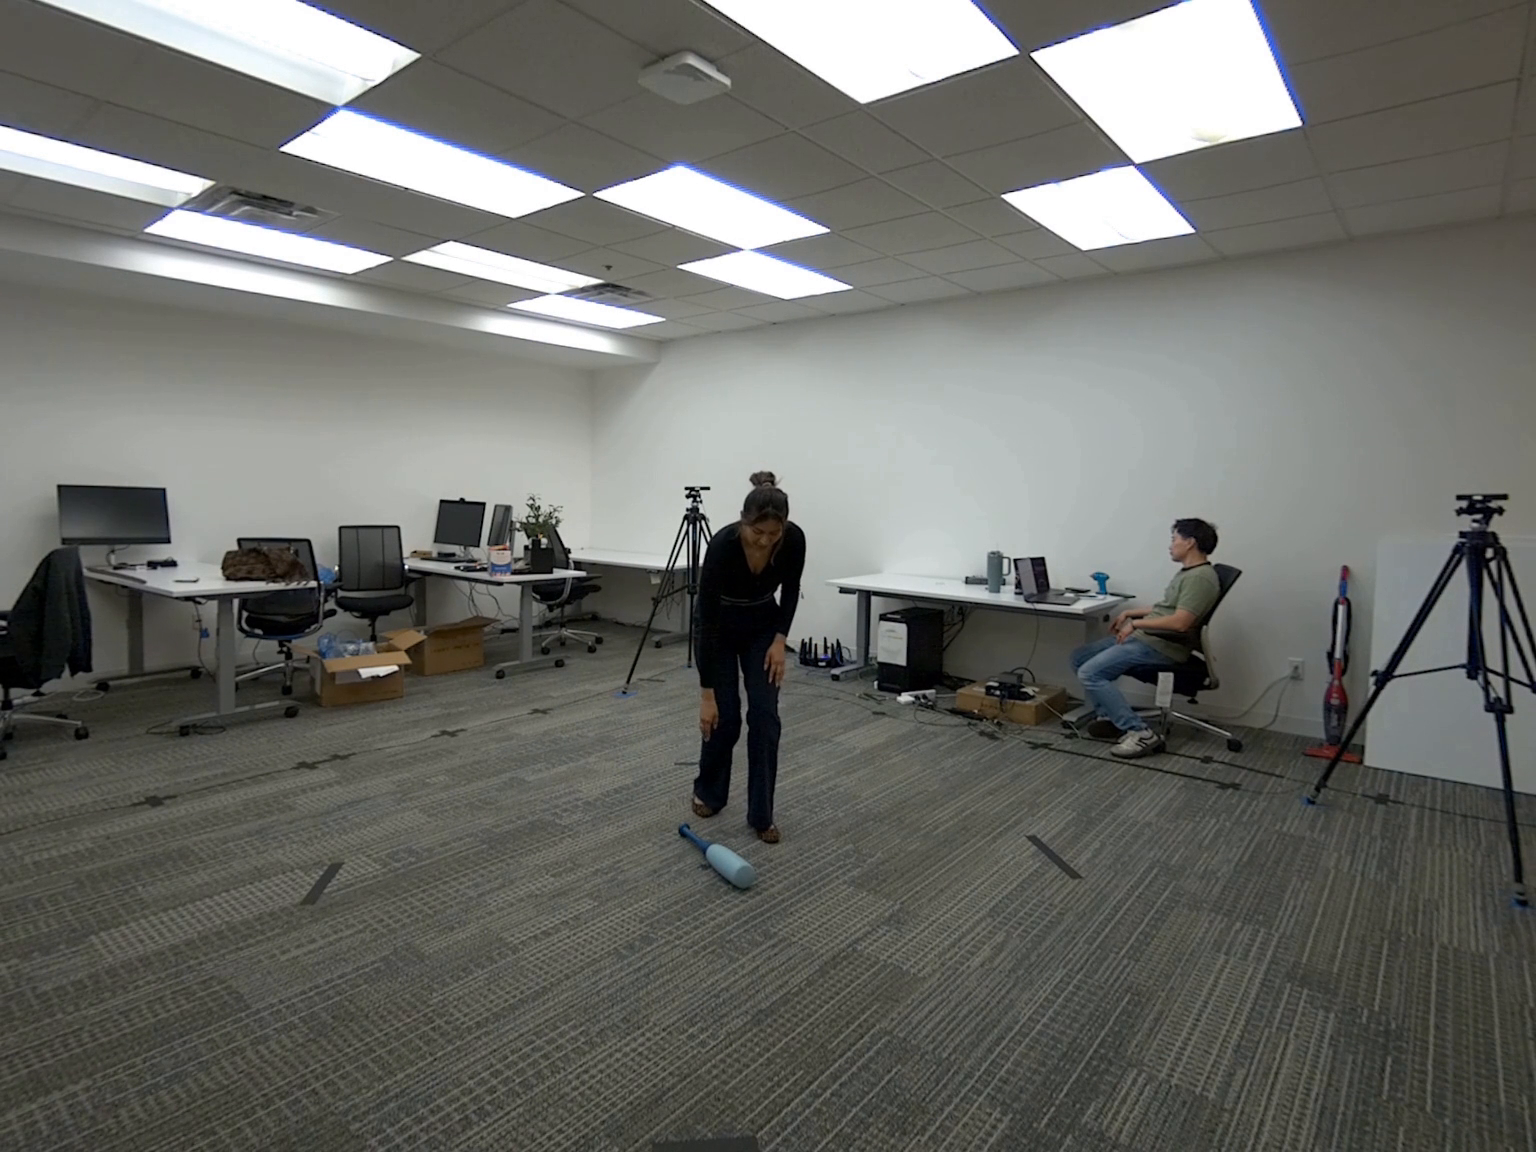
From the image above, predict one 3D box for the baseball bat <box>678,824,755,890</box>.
[{"bbox_3d":[-0.221,1.026,3.162,0.087,0.089,0.557,-1,2,-28],"label":"baseball bat"}]
